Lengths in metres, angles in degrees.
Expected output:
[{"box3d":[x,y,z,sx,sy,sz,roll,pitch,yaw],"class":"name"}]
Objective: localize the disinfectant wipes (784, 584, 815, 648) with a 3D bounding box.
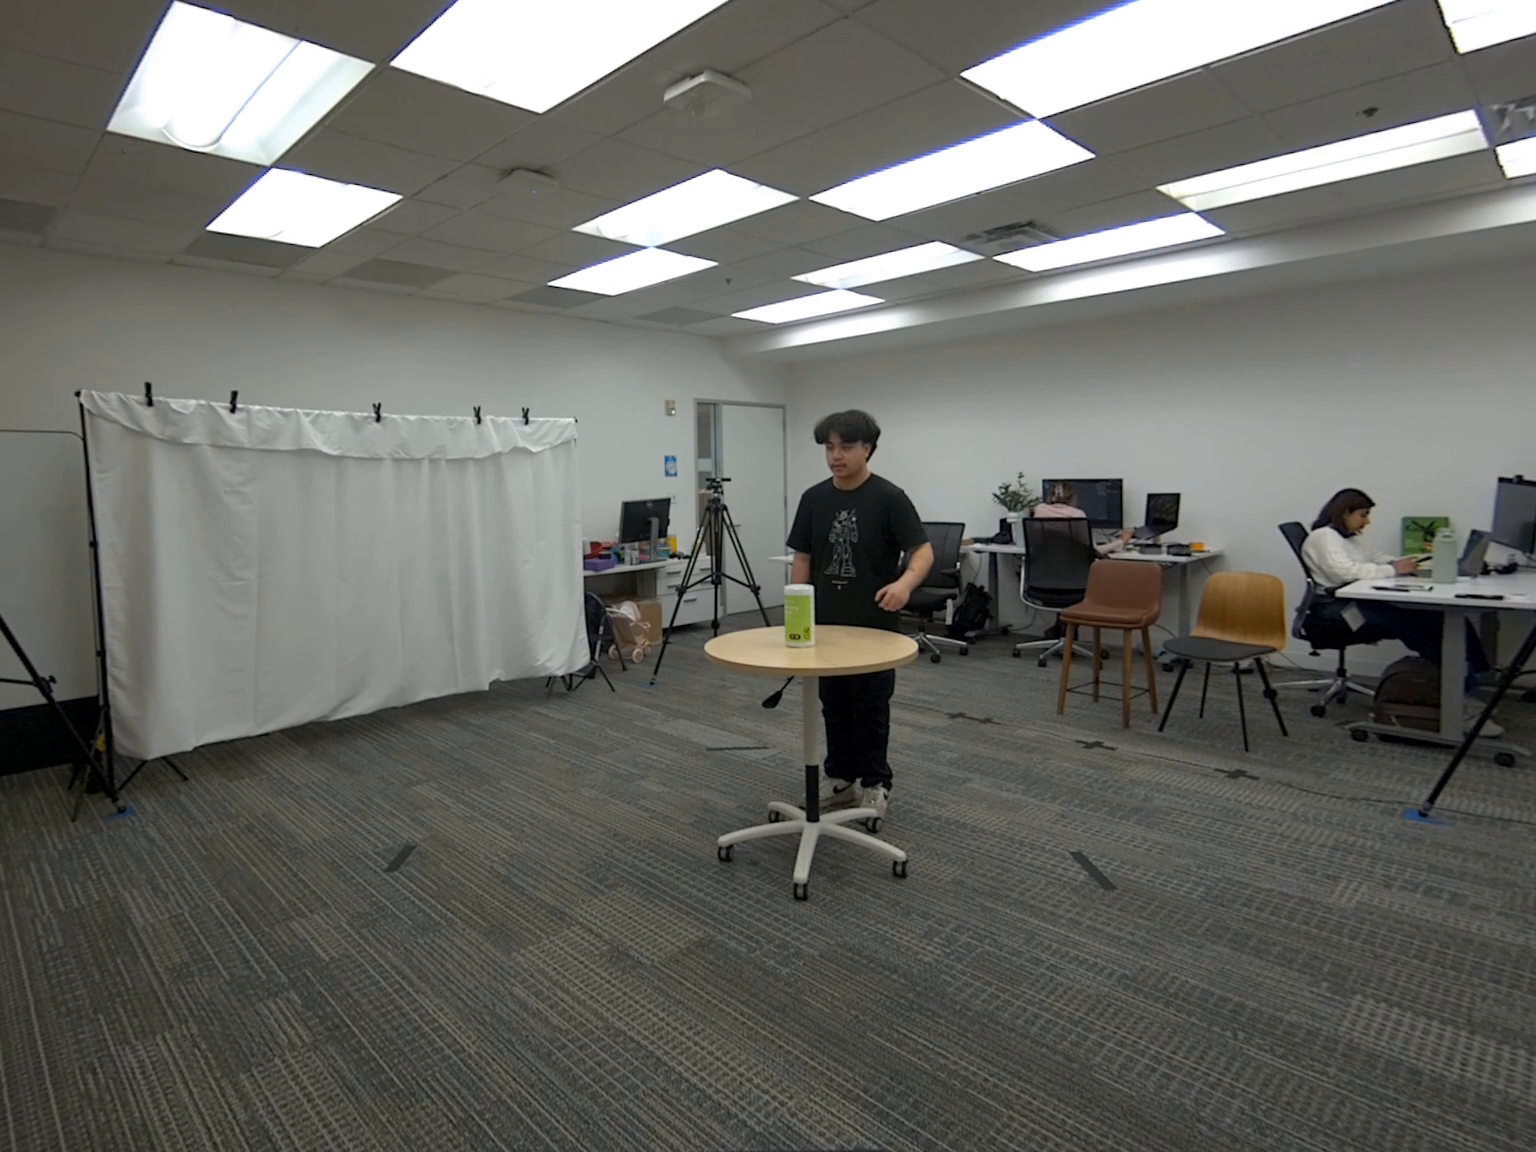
[{"box3d":[0.117,0.144,3.073,0.118,0.217,0.118,-2,4,-2],"class":"disinfectant wipes"}]
